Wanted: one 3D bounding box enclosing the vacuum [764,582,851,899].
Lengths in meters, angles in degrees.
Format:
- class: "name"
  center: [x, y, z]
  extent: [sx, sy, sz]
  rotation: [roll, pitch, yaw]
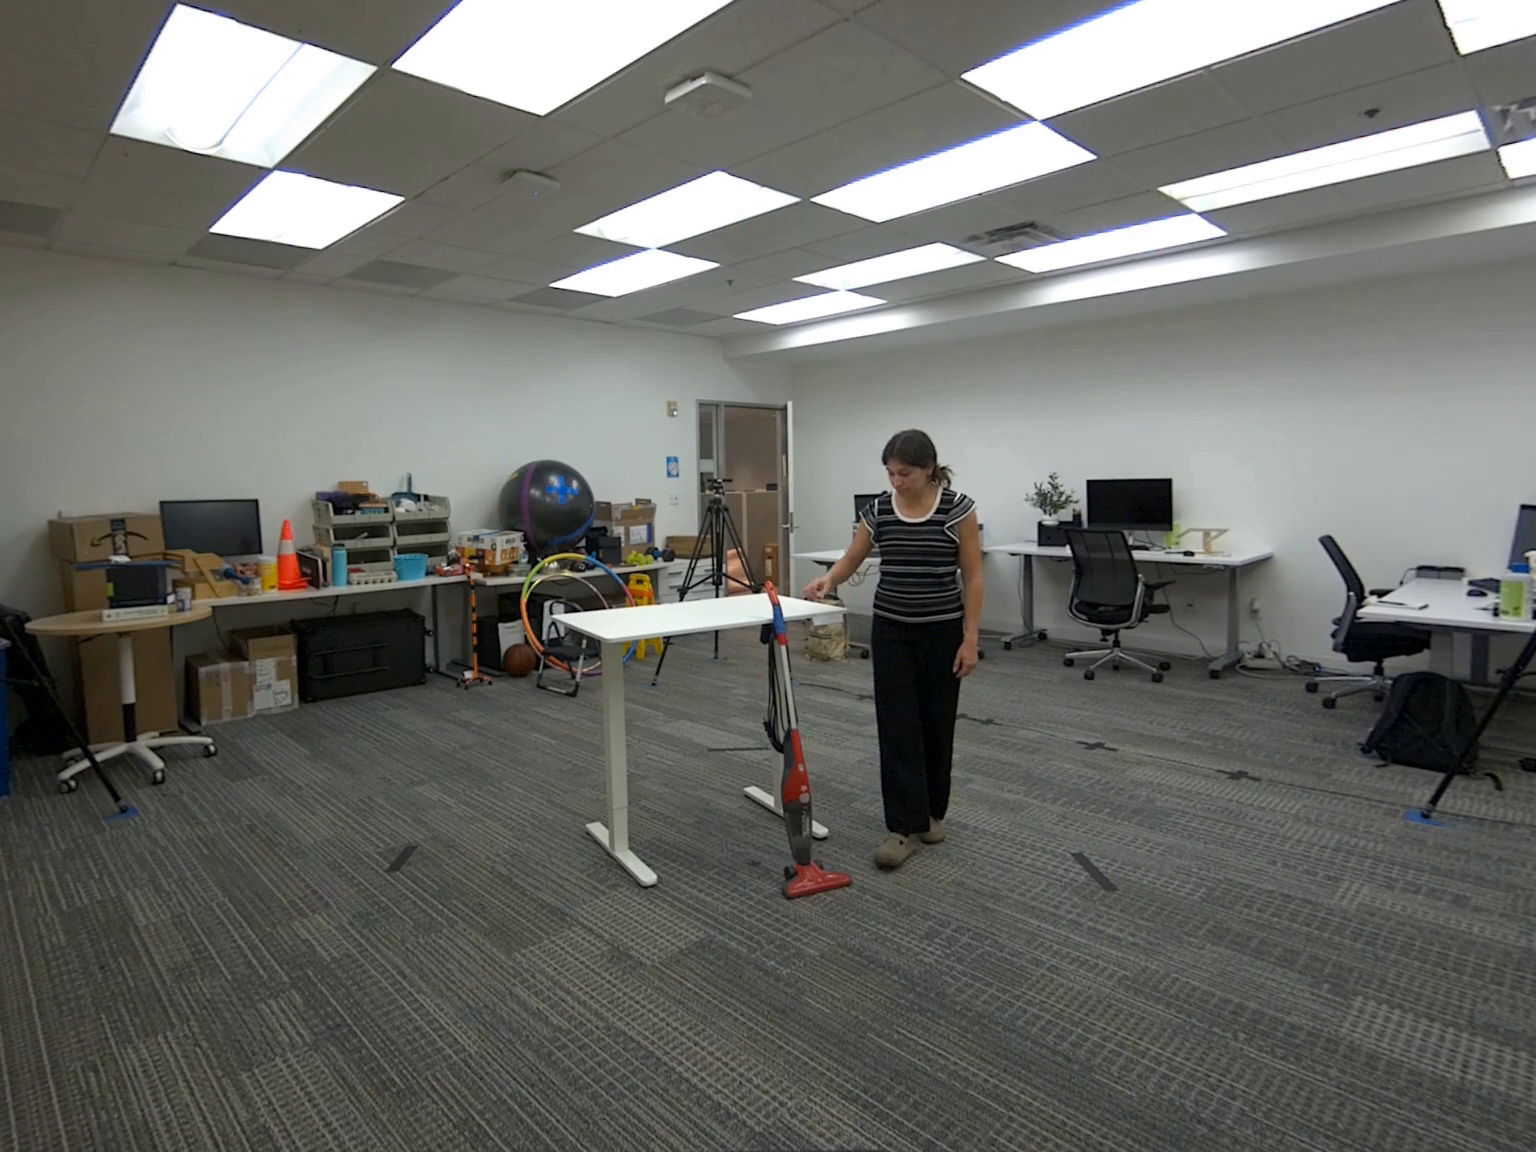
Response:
- class: "vacuum"
  center: [0.084, 0.559, 3.047]
  extent: [0.248, 1.062, 0.145]
  rotation: [-3, -13, -23]
